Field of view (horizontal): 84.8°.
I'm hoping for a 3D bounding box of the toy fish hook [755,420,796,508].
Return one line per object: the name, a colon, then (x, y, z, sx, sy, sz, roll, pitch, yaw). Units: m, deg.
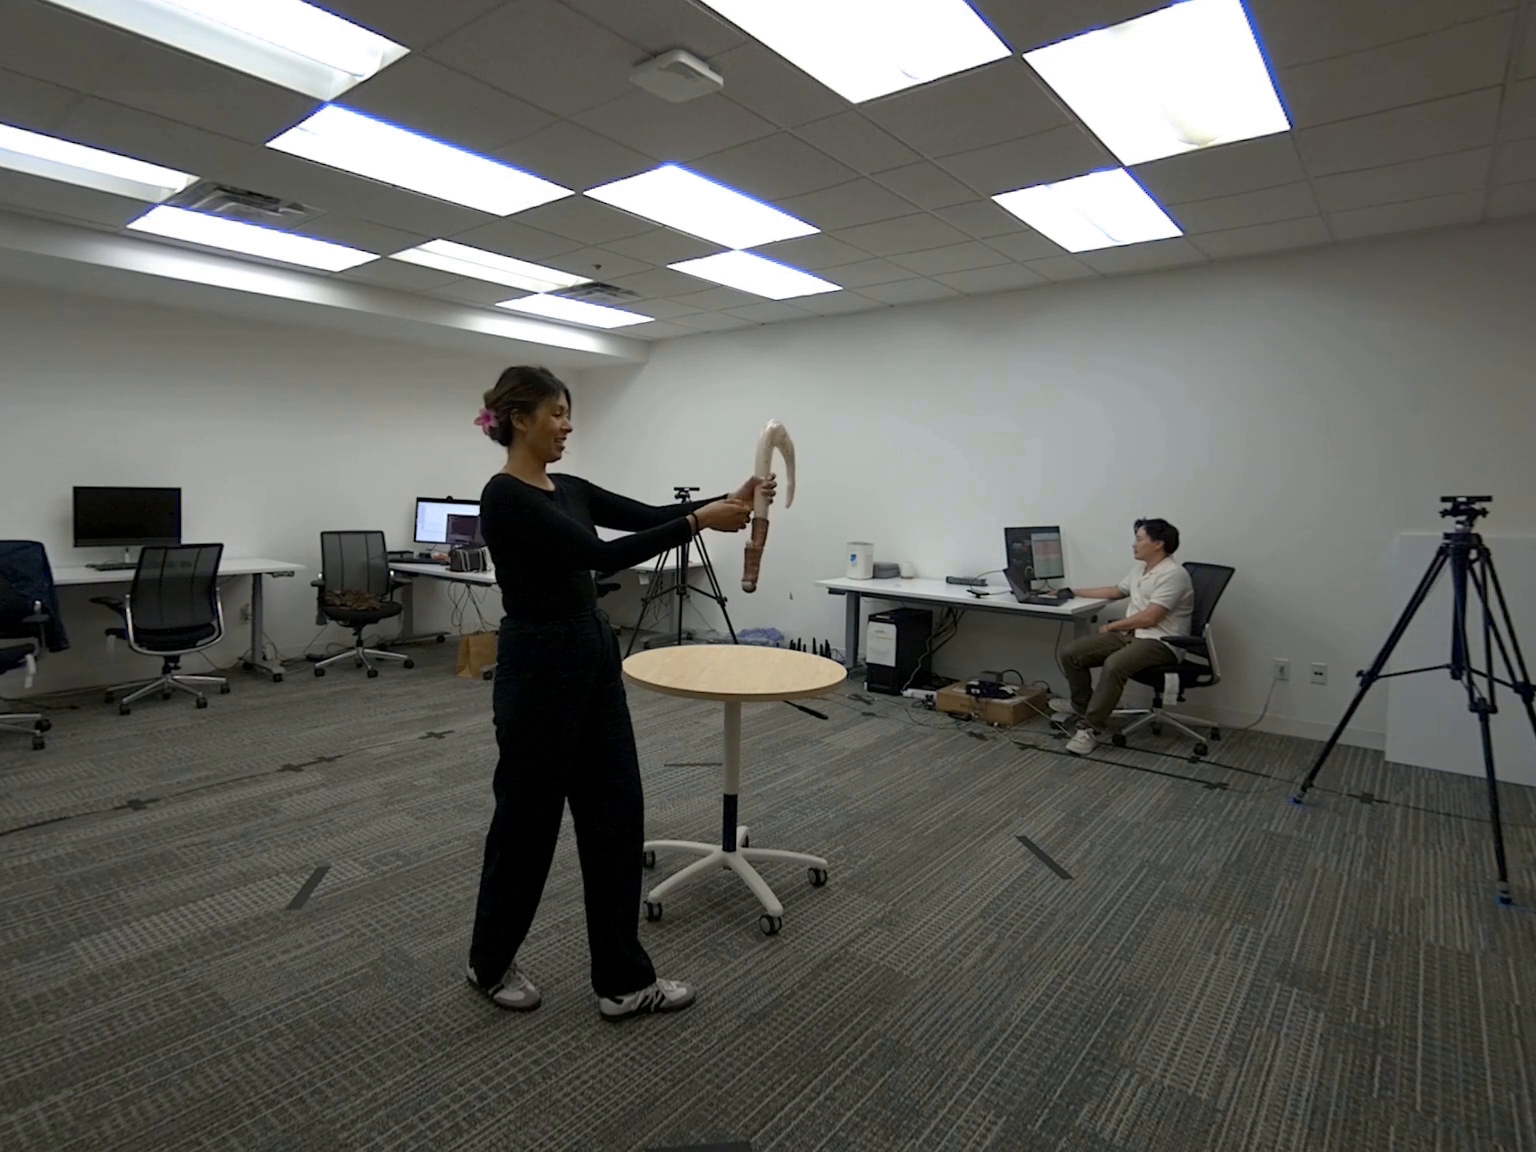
toy fish hook: (0.000, -0.165, 2.196, 0.049, 0.515, 0.215, -7, -31, 31)
